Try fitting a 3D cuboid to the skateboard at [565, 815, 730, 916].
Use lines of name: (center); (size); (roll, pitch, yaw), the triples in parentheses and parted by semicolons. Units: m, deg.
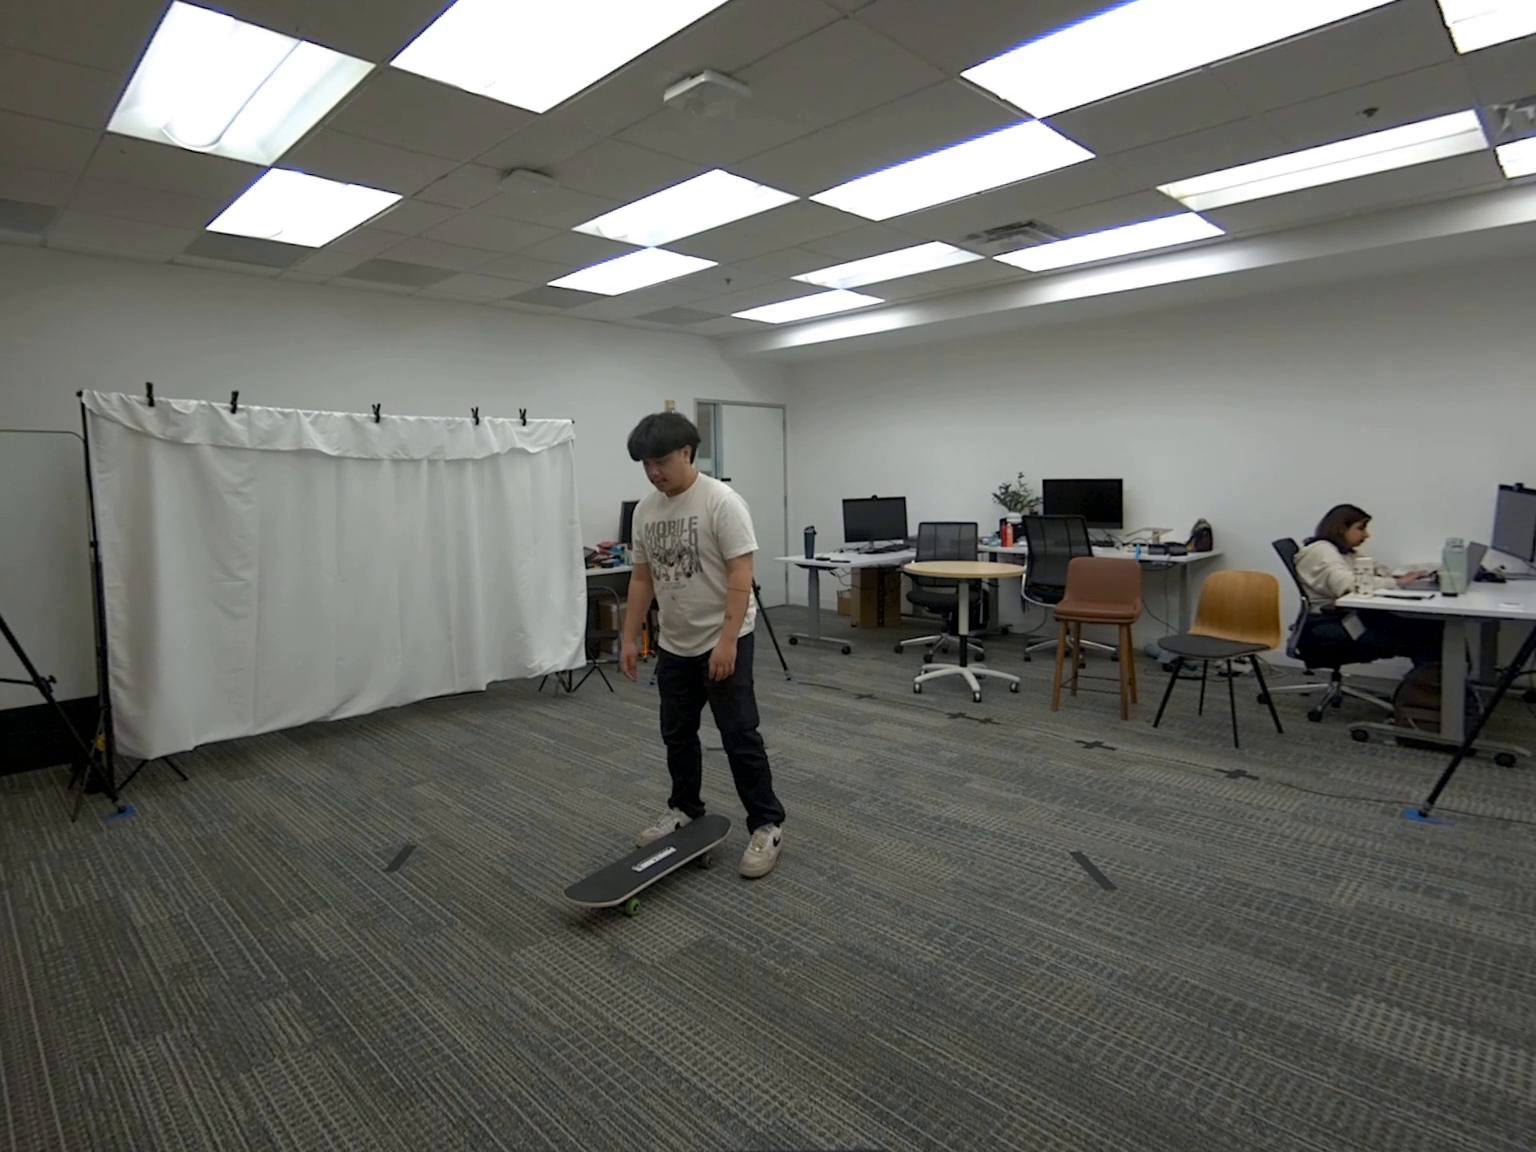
skateboard: (-0.390, 1.012, 2.950); (0.199, 0.110, 0.767); (3, 8, 33)
